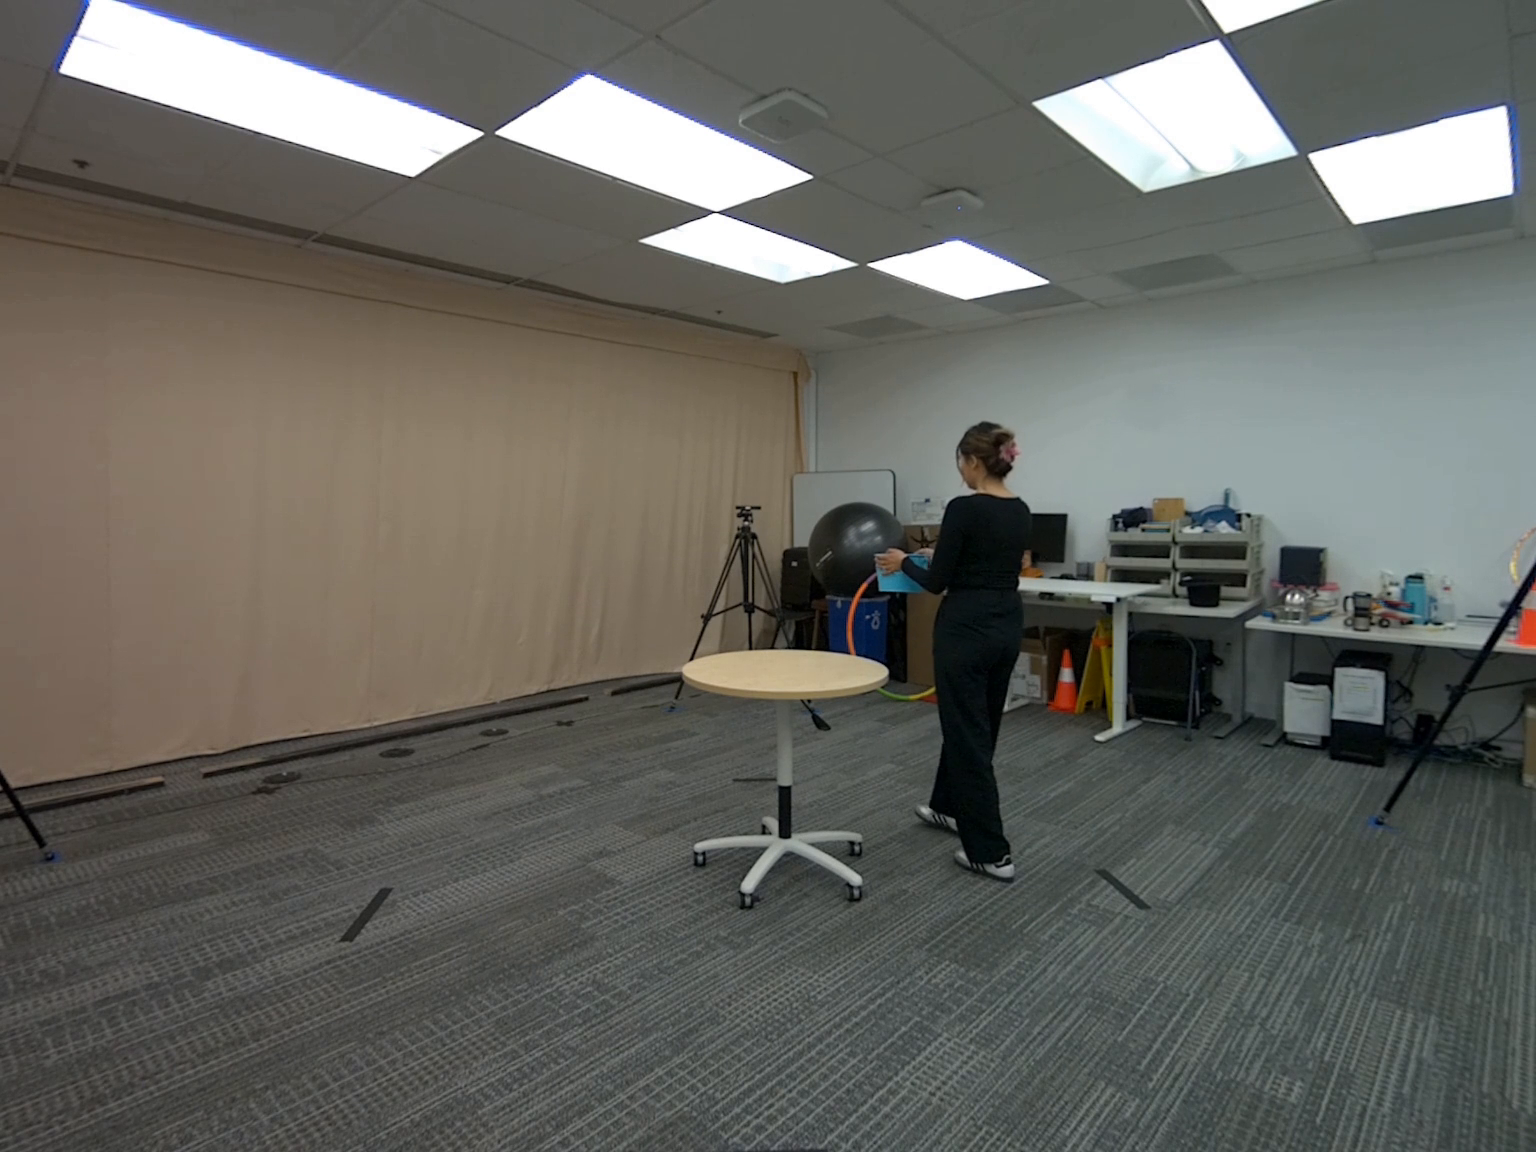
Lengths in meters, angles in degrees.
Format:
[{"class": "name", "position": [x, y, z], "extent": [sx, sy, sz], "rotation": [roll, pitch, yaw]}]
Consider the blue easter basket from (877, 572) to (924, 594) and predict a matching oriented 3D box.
[{"class": "blue easter basket", "position": [0.579, -0.008, 3.552], "extent": [0.243, 0.156, 0.243], "rotation": [4, -1, -2]}]
